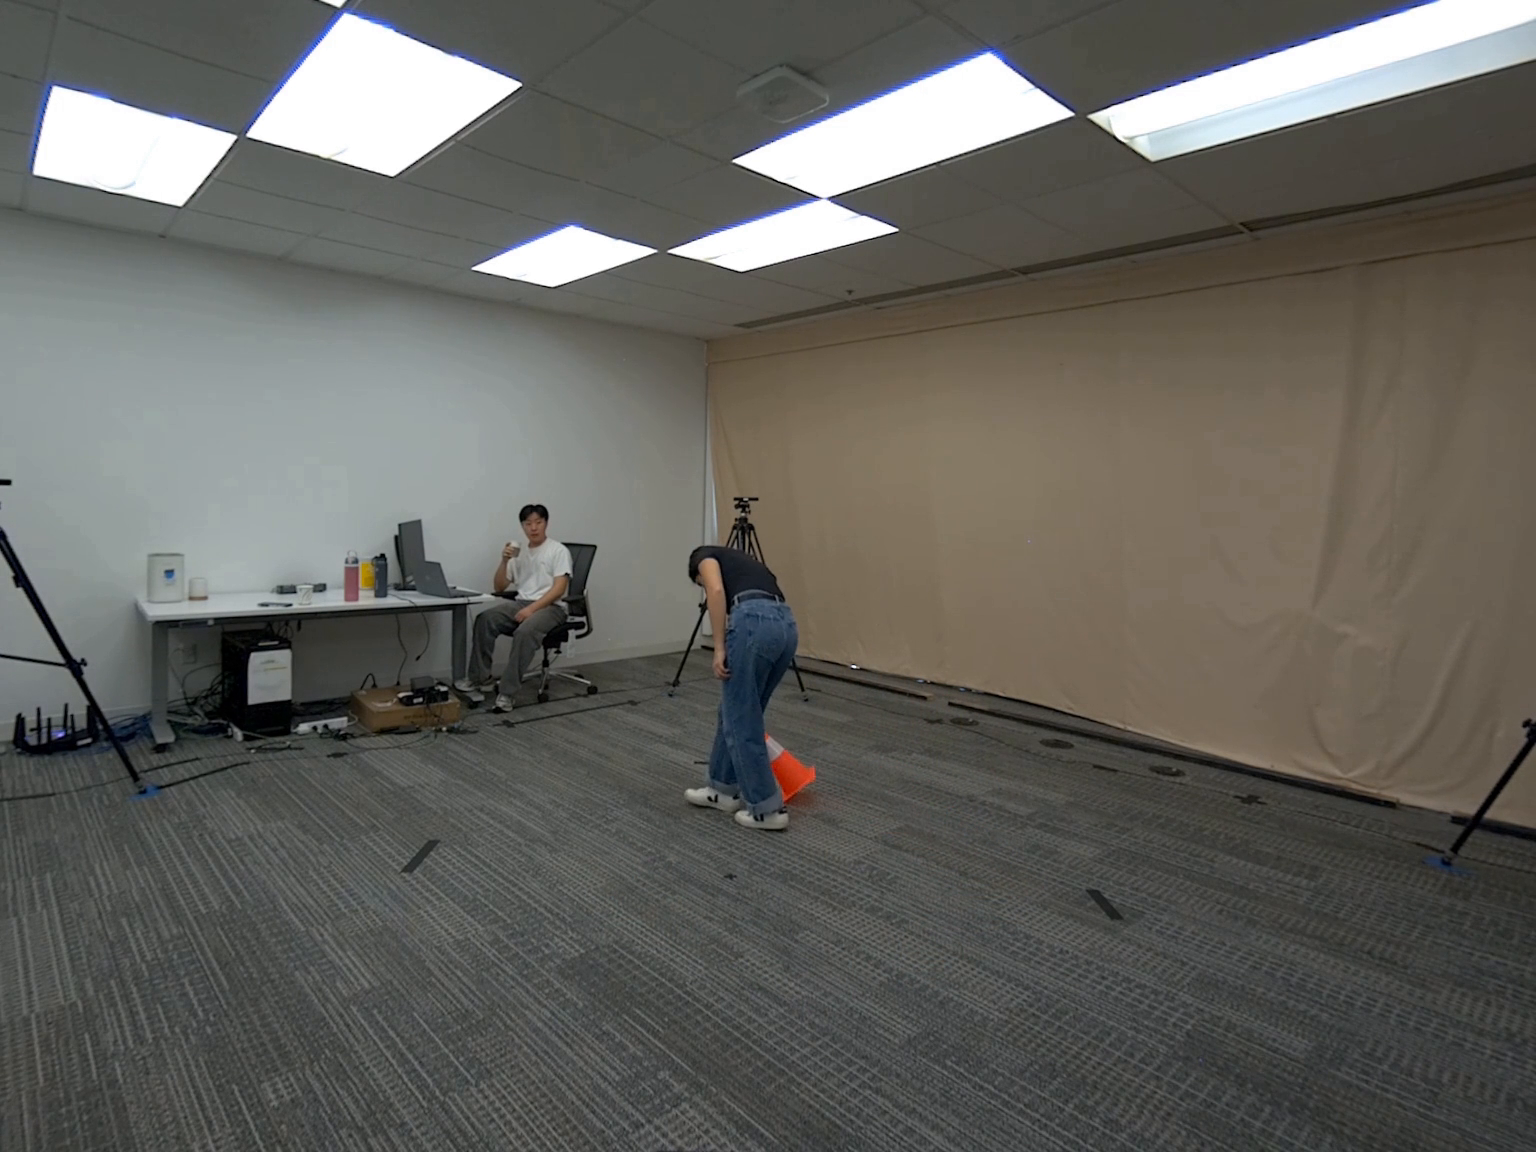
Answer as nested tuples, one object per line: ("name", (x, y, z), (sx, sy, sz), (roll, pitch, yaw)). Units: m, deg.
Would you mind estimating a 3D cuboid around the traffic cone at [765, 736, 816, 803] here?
("traffic cone", (0.018, 0.837, 3.953), (0.205, 0.384, 0.203), (-37, -1, 0))
